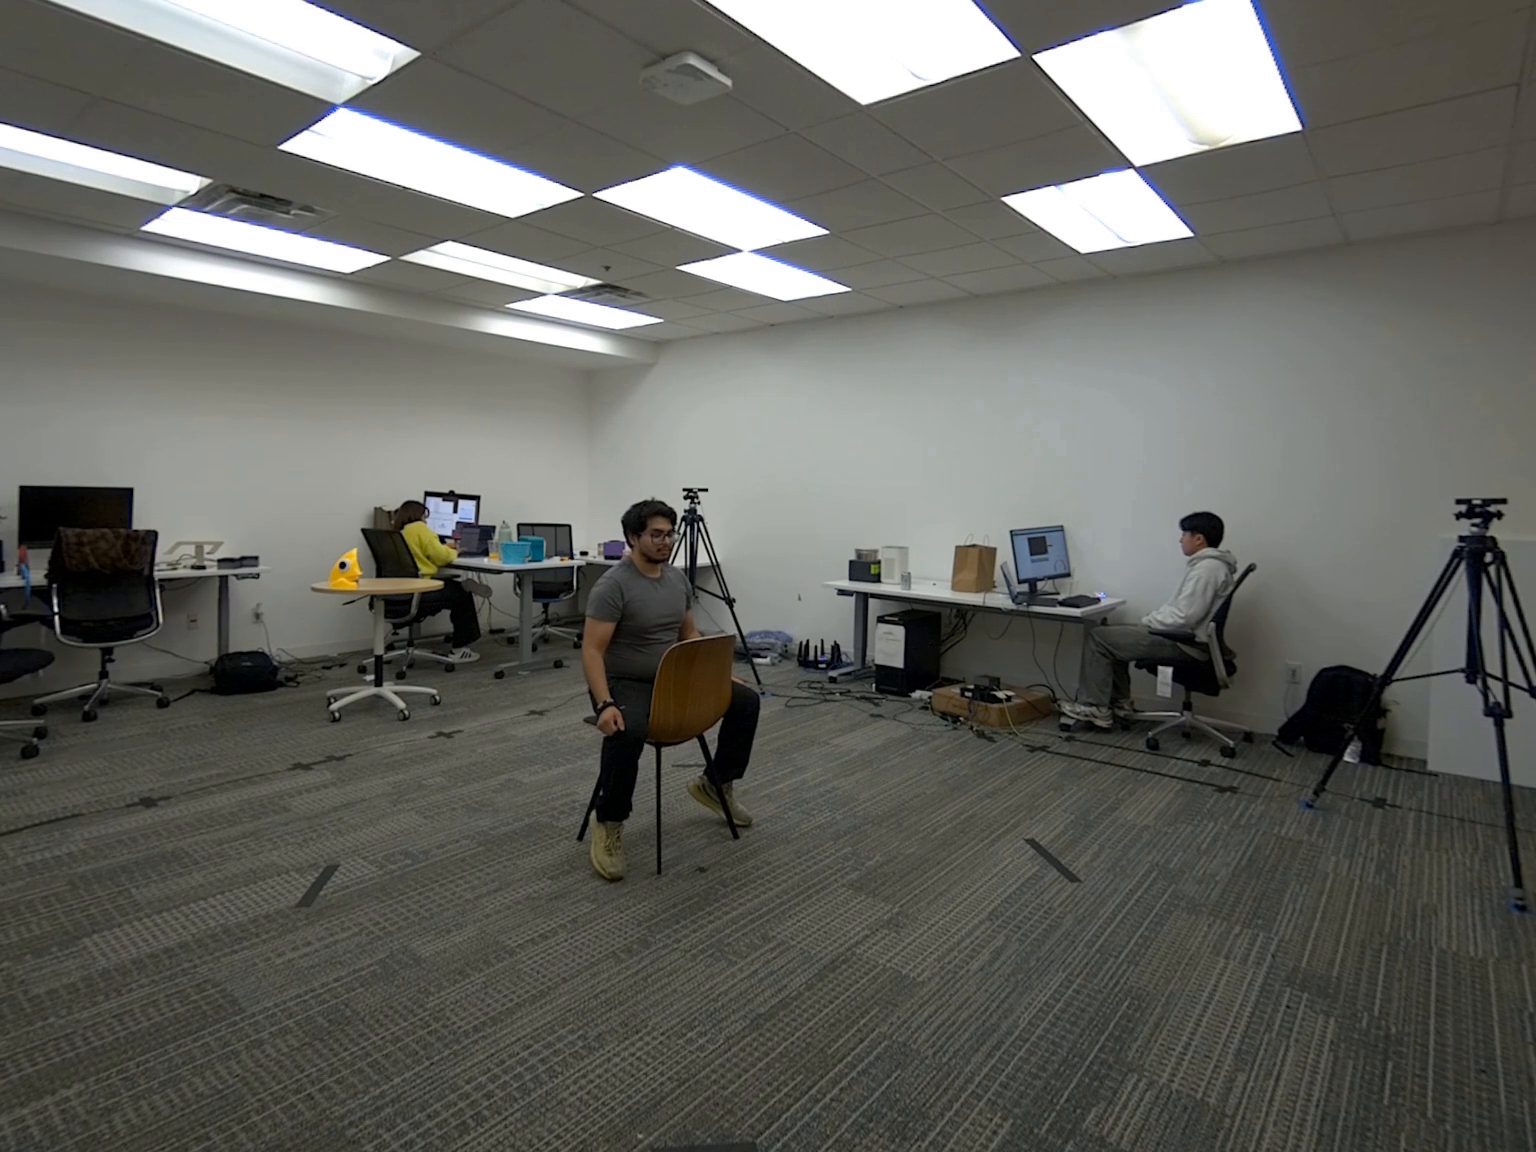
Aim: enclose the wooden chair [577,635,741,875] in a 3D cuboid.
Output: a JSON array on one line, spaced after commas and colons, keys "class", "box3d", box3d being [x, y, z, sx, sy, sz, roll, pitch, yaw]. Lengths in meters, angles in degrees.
[{"class": "wooden chair", "box3d": [-0.444, 0.620, 3.346, 0.542, 0.873, 0.464, 9, 8, 39]}]
